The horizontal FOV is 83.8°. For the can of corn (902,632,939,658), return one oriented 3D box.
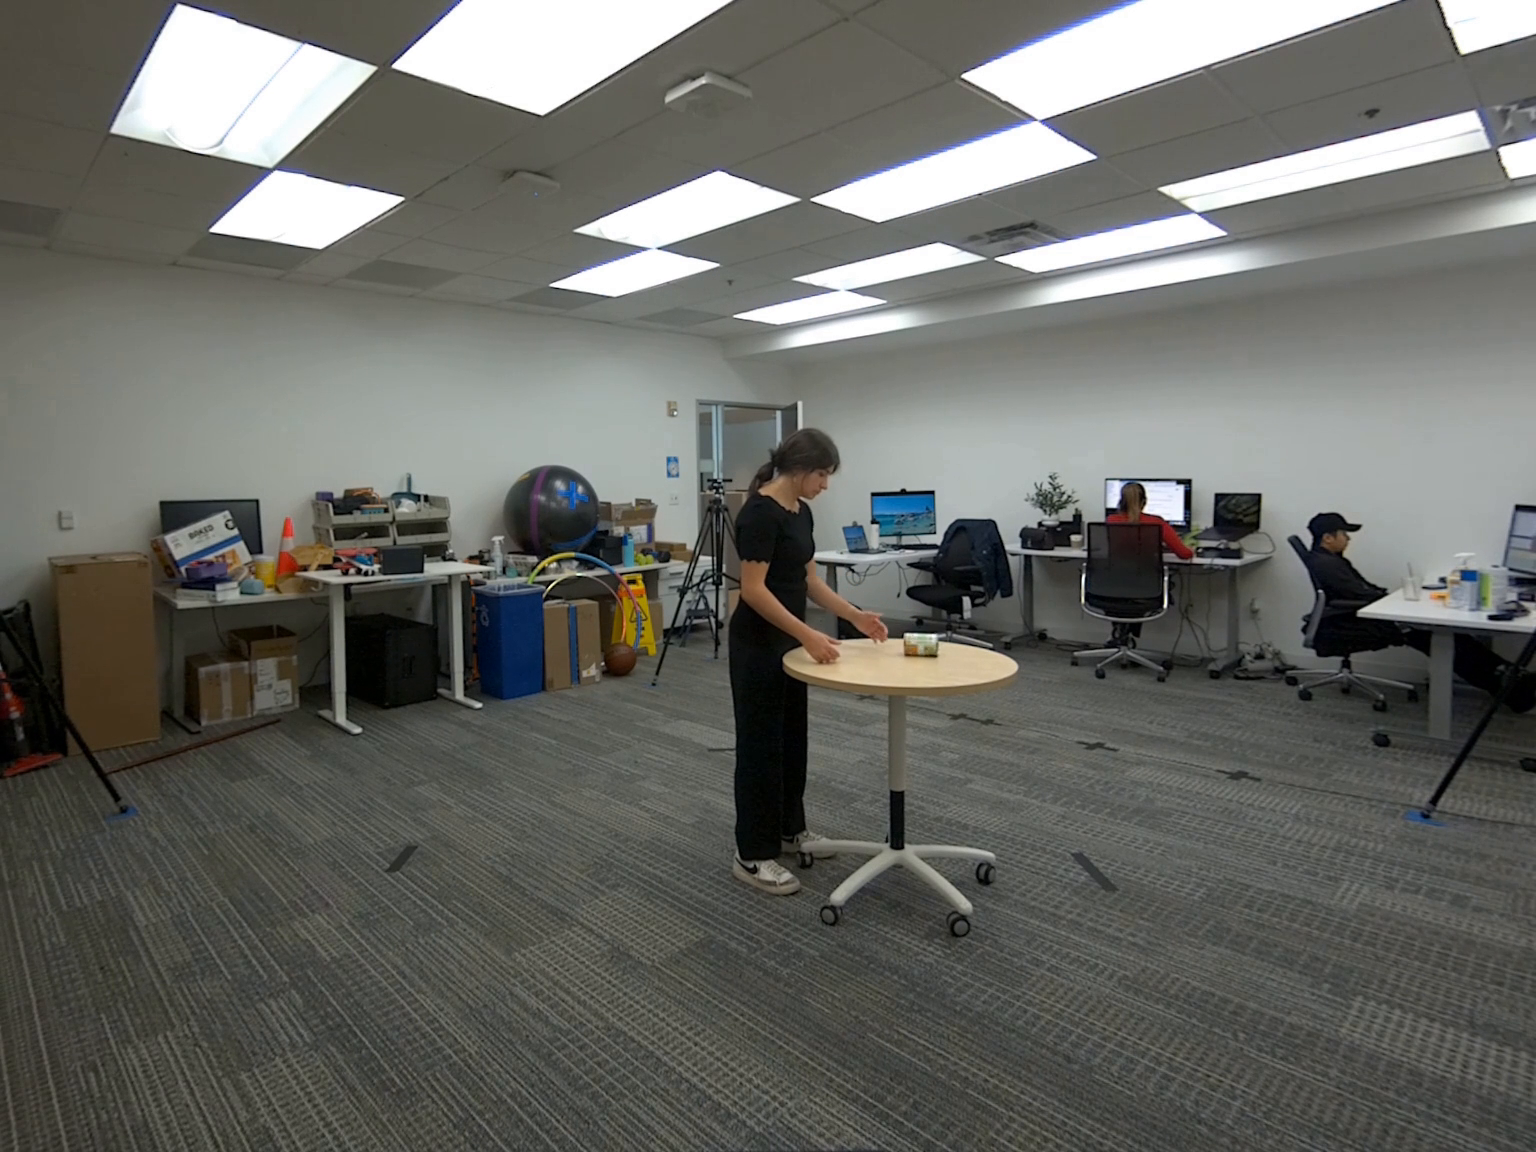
[{"bbox_3d":[0.522,0.231,2.921,0.112,0.074,0.073,0,5,14],"label":"can of corn"}]
